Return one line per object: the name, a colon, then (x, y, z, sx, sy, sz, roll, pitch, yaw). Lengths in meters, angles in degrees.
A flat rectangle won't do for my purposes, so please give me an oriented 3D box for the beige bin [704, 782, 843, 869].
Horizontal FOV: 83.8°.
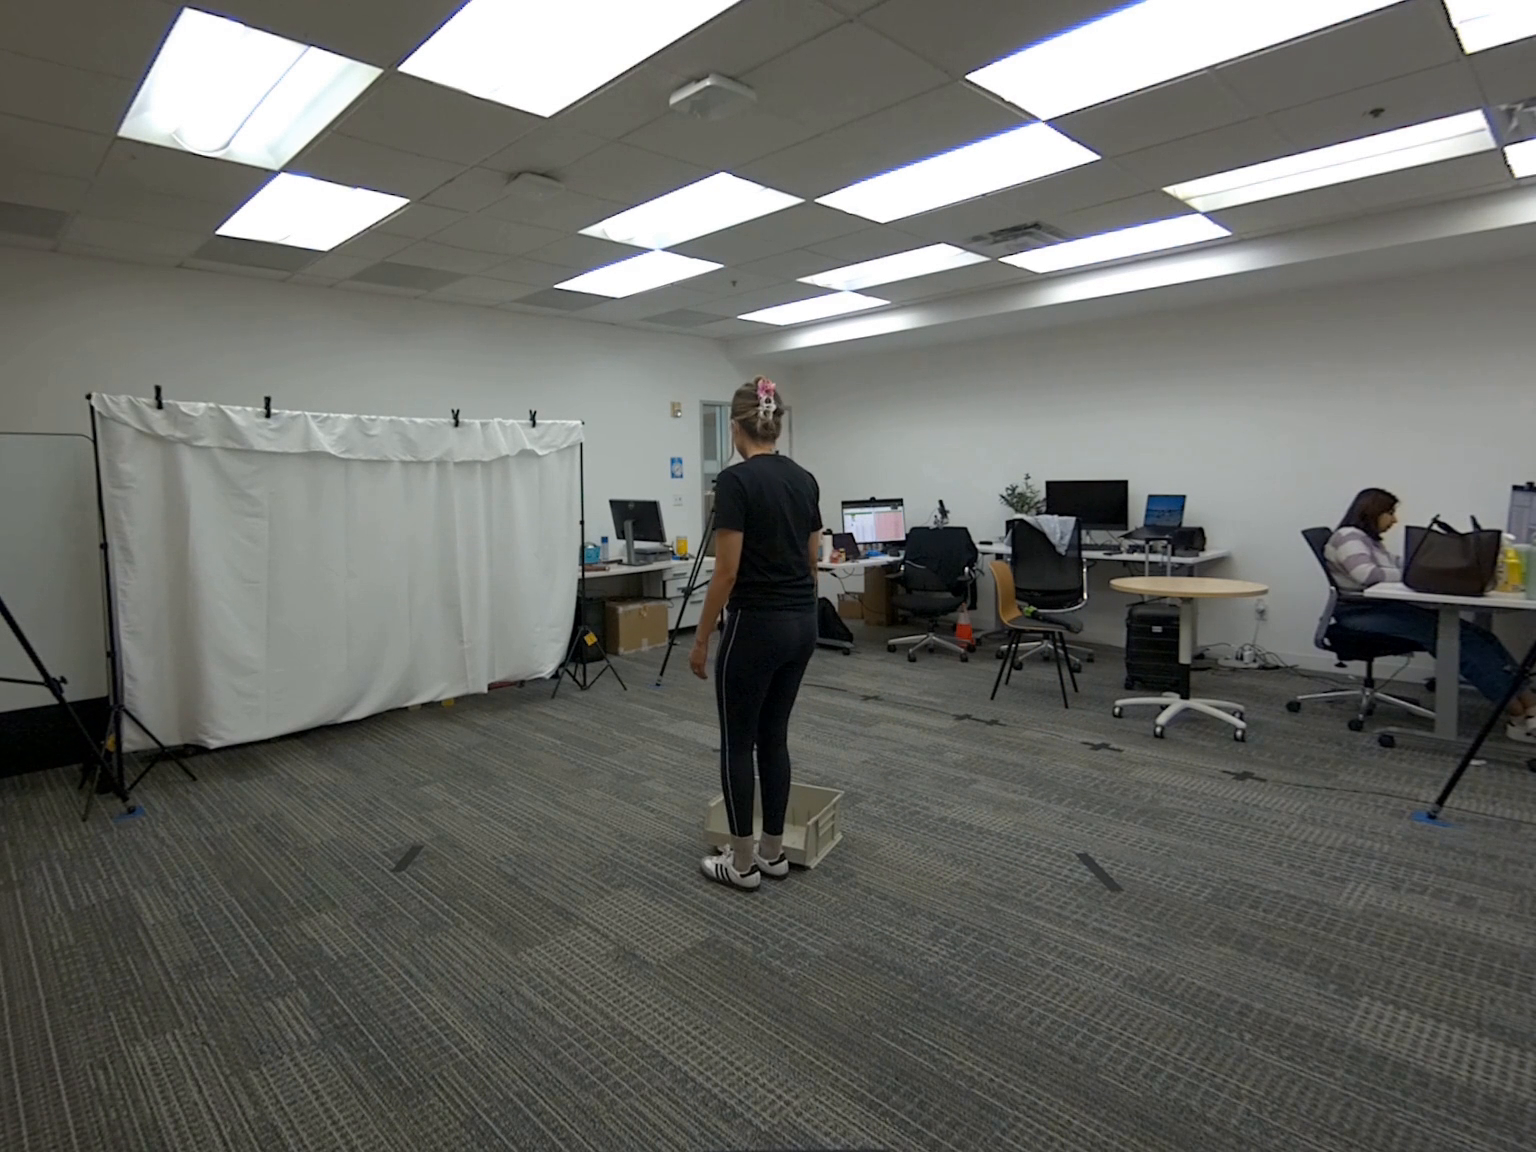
beige bin: (0.029, 0.937, 3.262, 0.433, 0.188, 0.369, 2, 5, 27)
